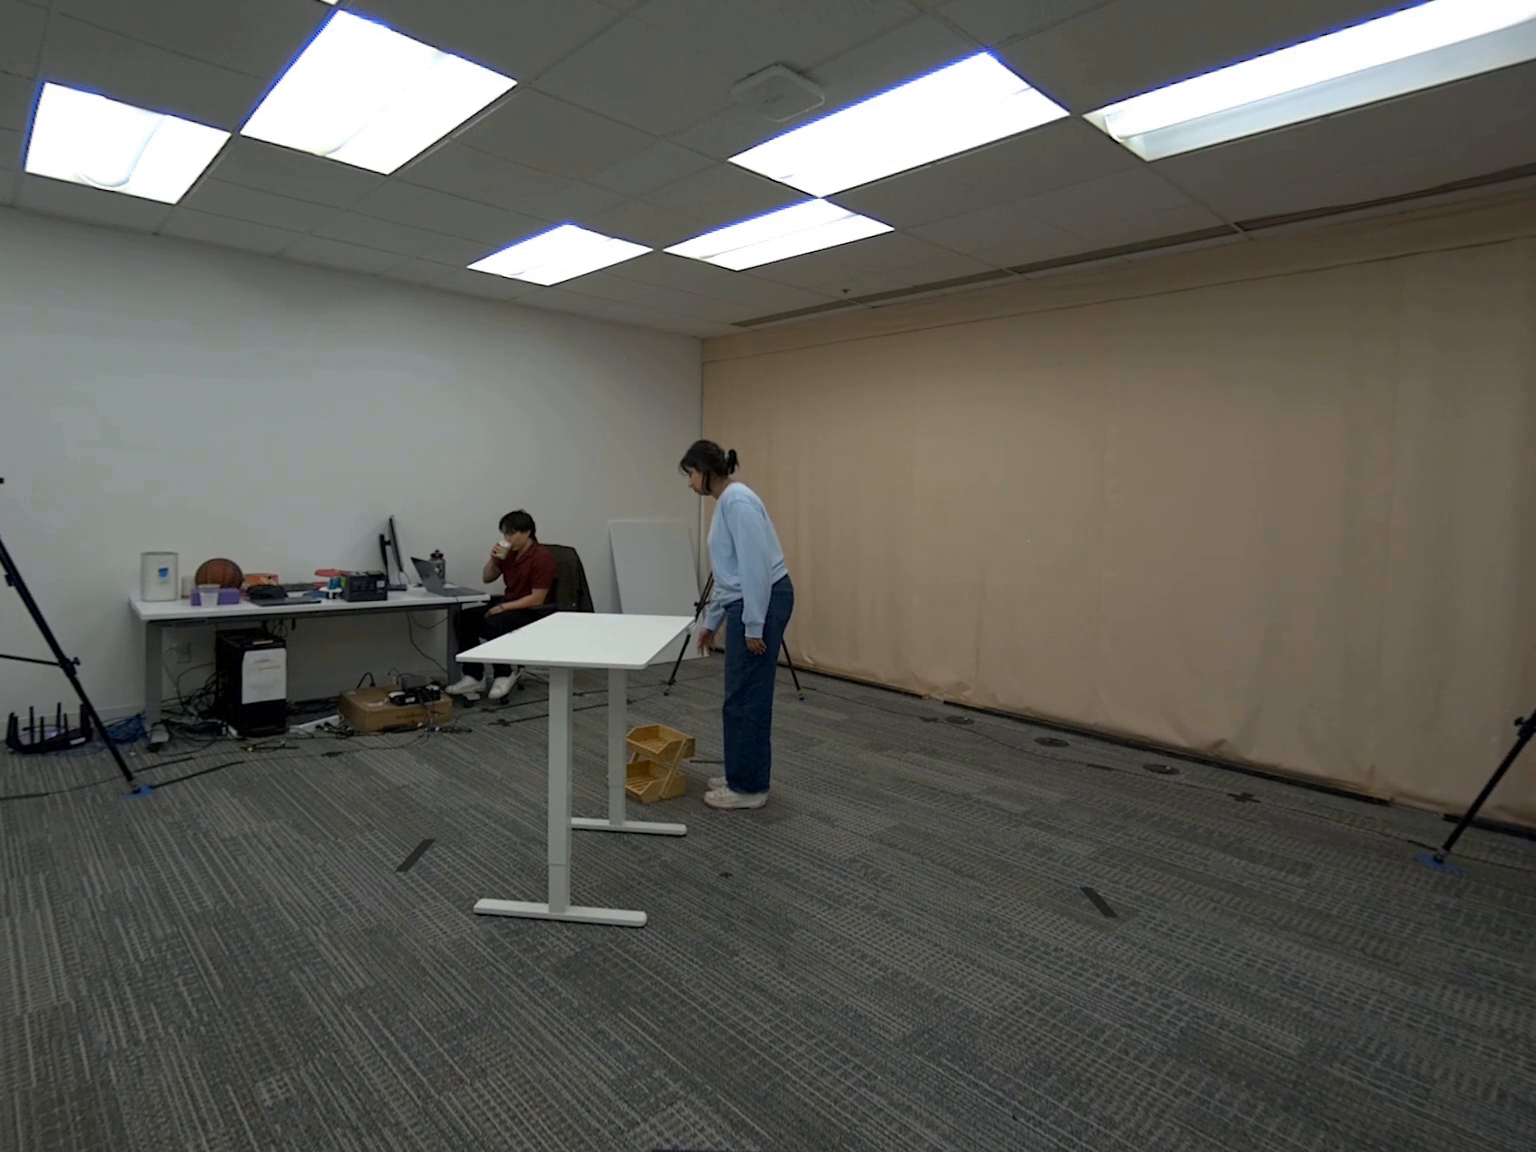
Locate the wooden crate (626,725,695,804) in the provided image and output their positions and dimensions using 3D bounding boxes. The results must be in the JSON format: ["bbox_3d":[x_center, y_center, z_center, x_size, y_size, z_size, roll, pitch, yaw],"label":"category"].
[{"bbox_3d":[-0.565,0.873,3.999,0.295,0.272,0.333,-1,5,-40],"label":"wooden crate"}]
